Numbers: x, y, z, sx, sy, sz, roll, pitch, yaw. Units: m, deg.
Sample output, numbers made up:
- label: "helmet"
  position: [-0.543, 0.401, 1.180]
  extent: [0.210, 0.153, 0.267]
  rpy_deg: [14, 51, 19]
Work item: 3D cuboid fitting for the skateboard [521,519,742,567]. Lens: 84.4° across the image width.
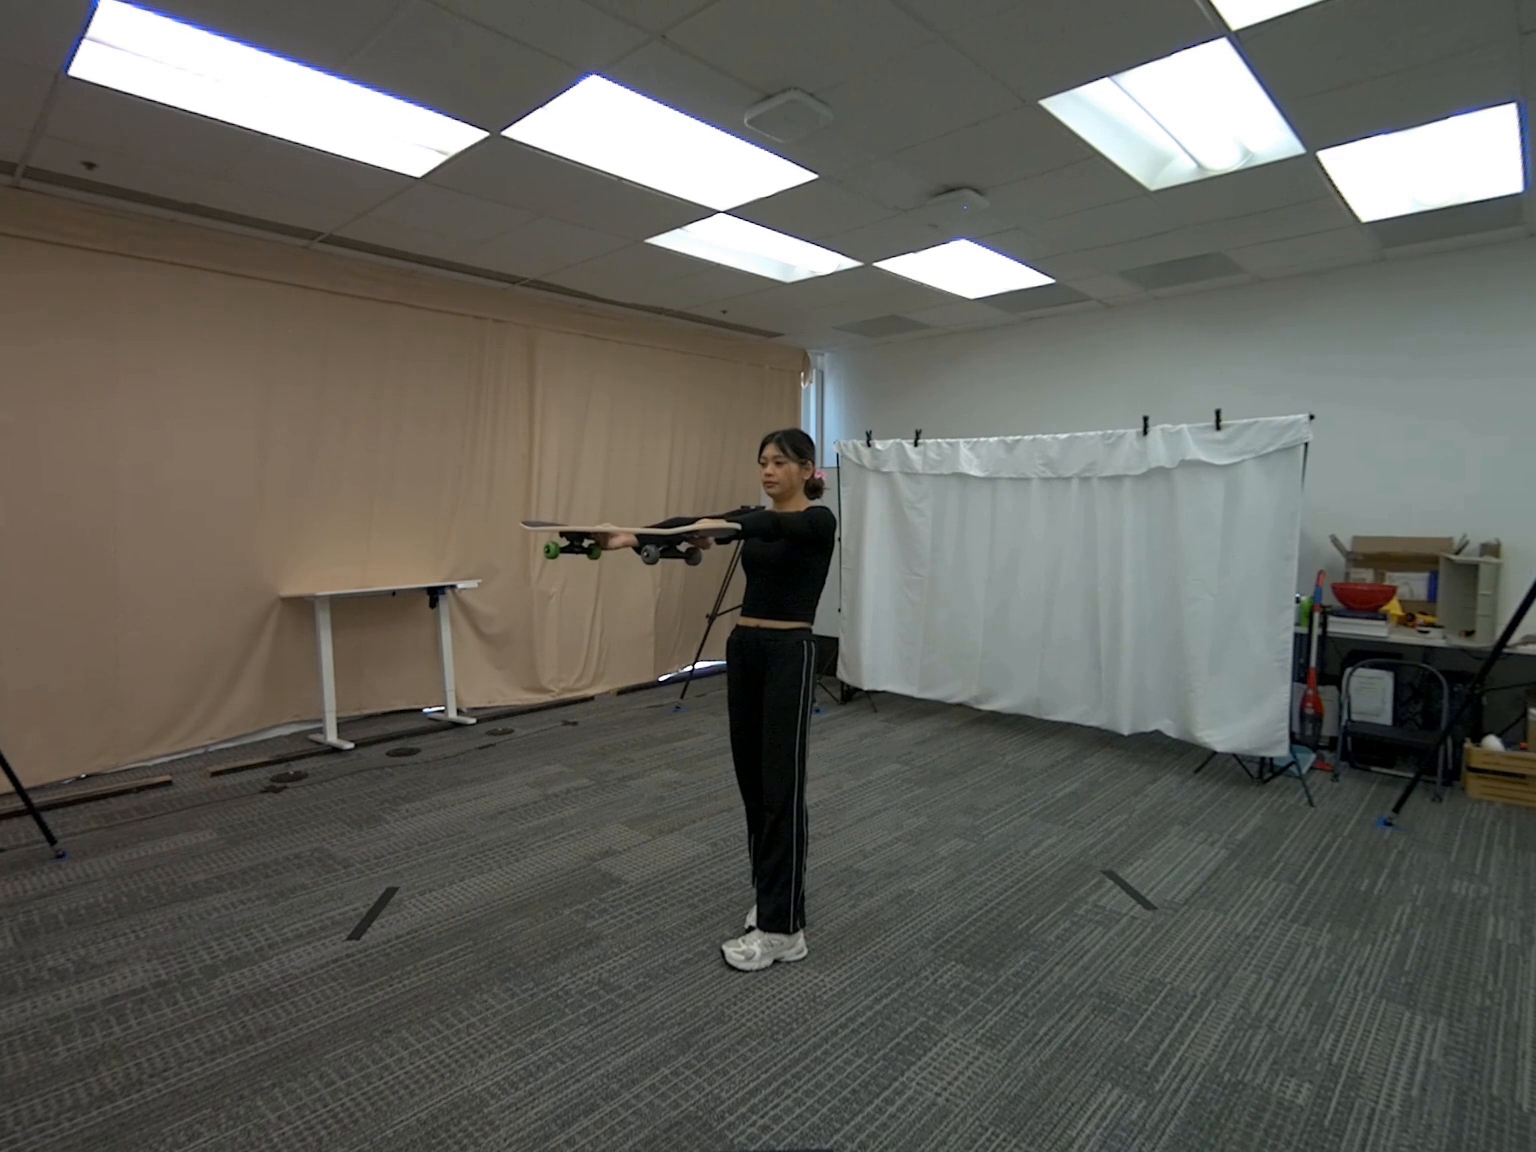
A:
- label: "skateboard"
  position: [-0.386, -0.093, 2.279]
  extent: [0.811, 0.110, 0.187]
  rpy_deg: [4, 1, 40]
